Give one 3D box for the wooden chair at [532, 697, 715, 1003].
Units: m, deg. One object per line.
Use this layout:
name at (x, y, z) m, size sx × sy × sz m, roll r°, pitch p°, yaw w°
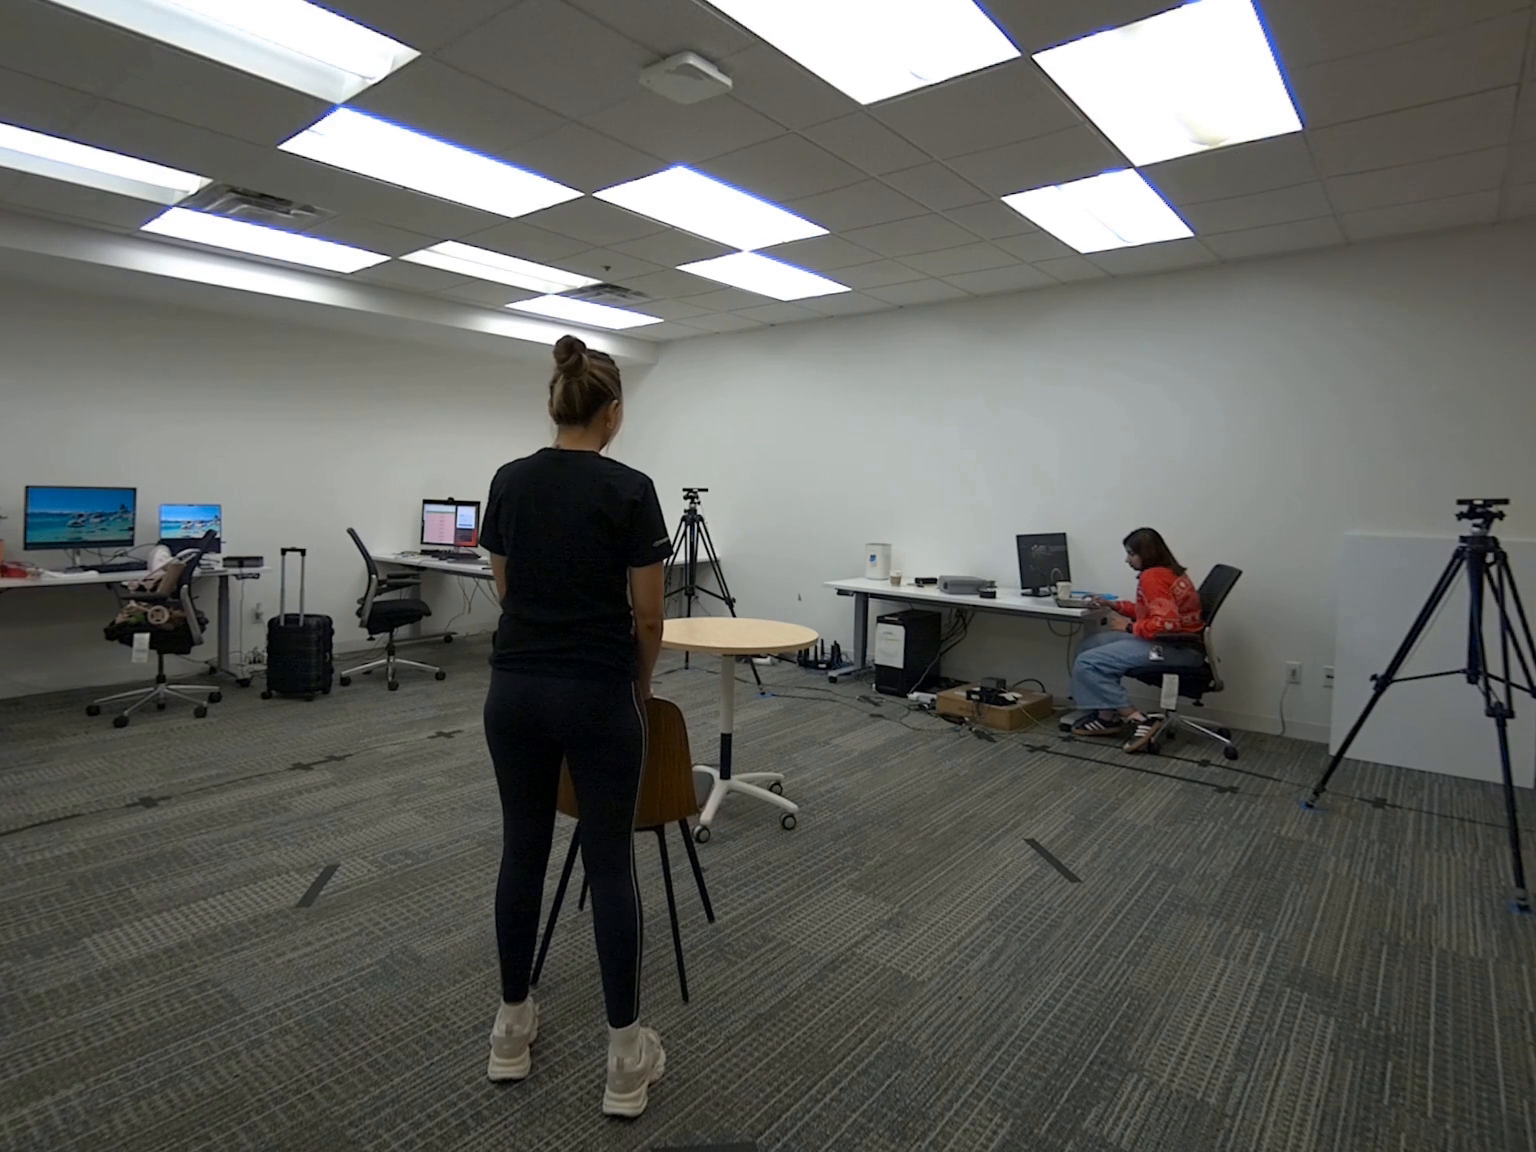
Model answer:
wooden chair at (-0.414, 0.695, 2.532) m, size 0.483 × 0.871 × 0.521 m, roll 2°, pitch 7°, yaw 8°
